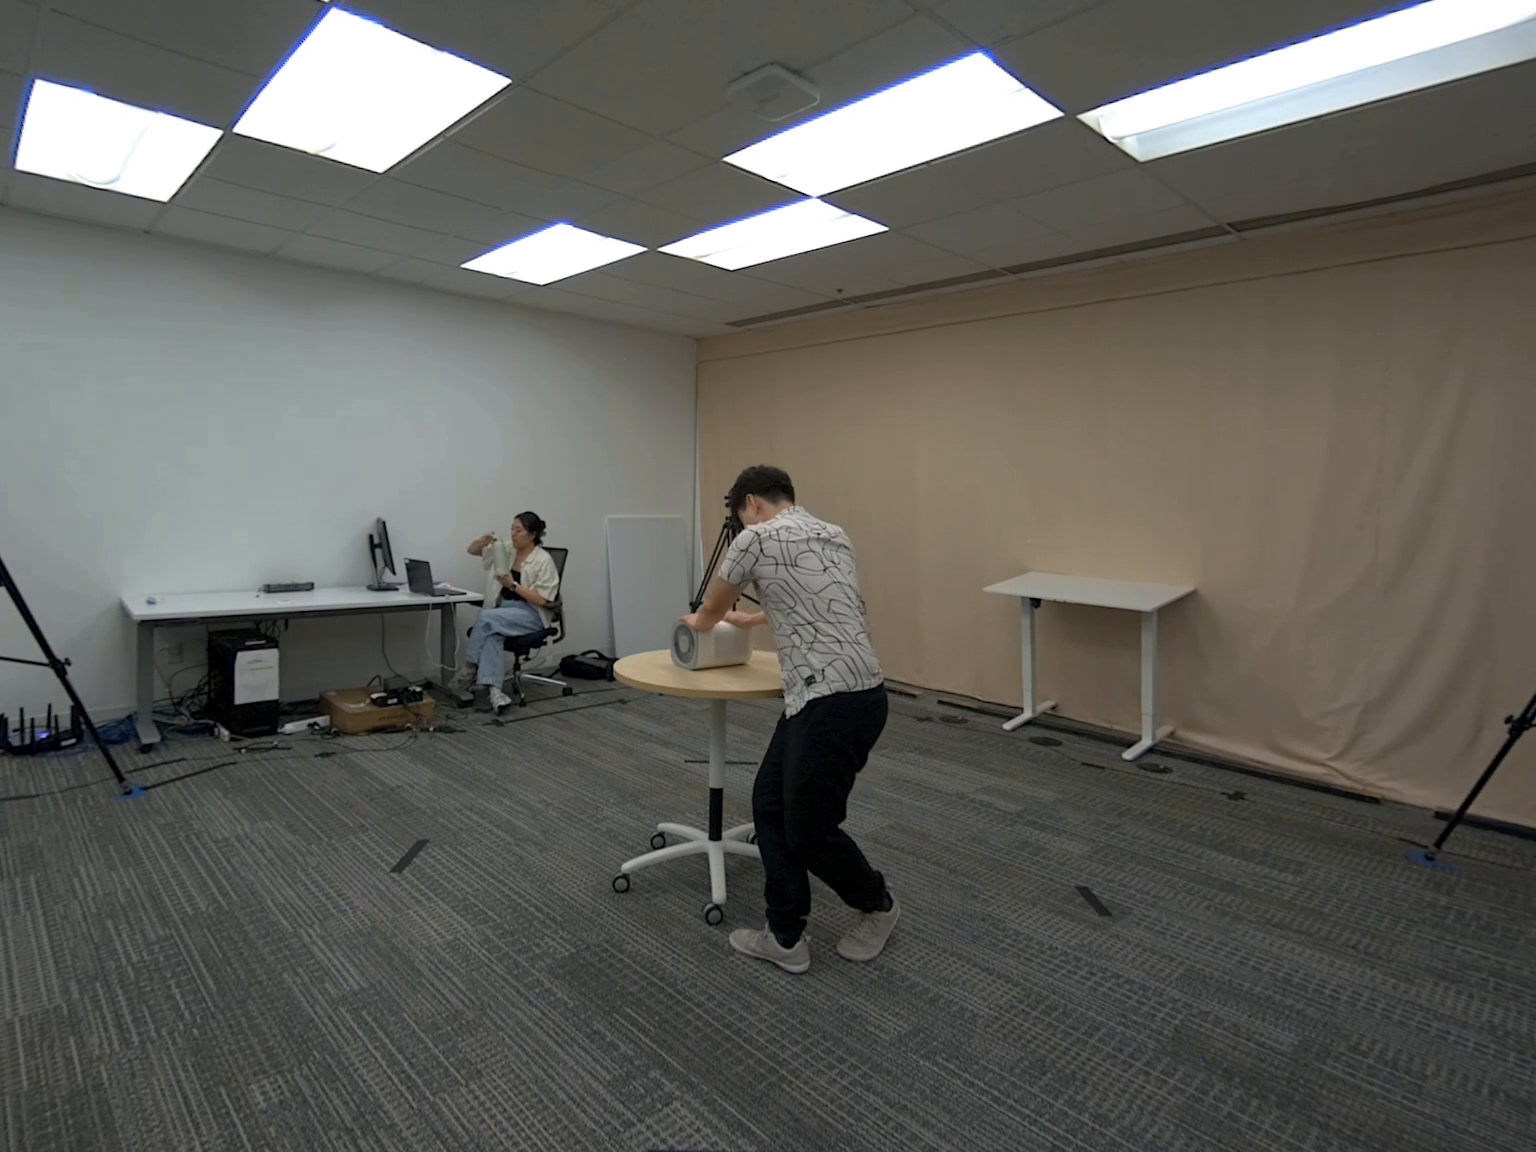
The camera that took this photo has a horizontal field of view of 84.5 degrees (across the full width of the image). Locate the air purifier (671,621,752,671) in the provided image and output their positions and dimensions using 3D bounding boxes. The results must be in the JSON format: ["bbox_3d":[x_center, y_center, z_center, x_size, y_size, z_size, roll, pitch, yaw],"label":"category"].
[{"bbox_3d":[-0.205,0.240,3.076,0.259,0.171,0.175,-1,8,-38],"label":"air purifier"}]
